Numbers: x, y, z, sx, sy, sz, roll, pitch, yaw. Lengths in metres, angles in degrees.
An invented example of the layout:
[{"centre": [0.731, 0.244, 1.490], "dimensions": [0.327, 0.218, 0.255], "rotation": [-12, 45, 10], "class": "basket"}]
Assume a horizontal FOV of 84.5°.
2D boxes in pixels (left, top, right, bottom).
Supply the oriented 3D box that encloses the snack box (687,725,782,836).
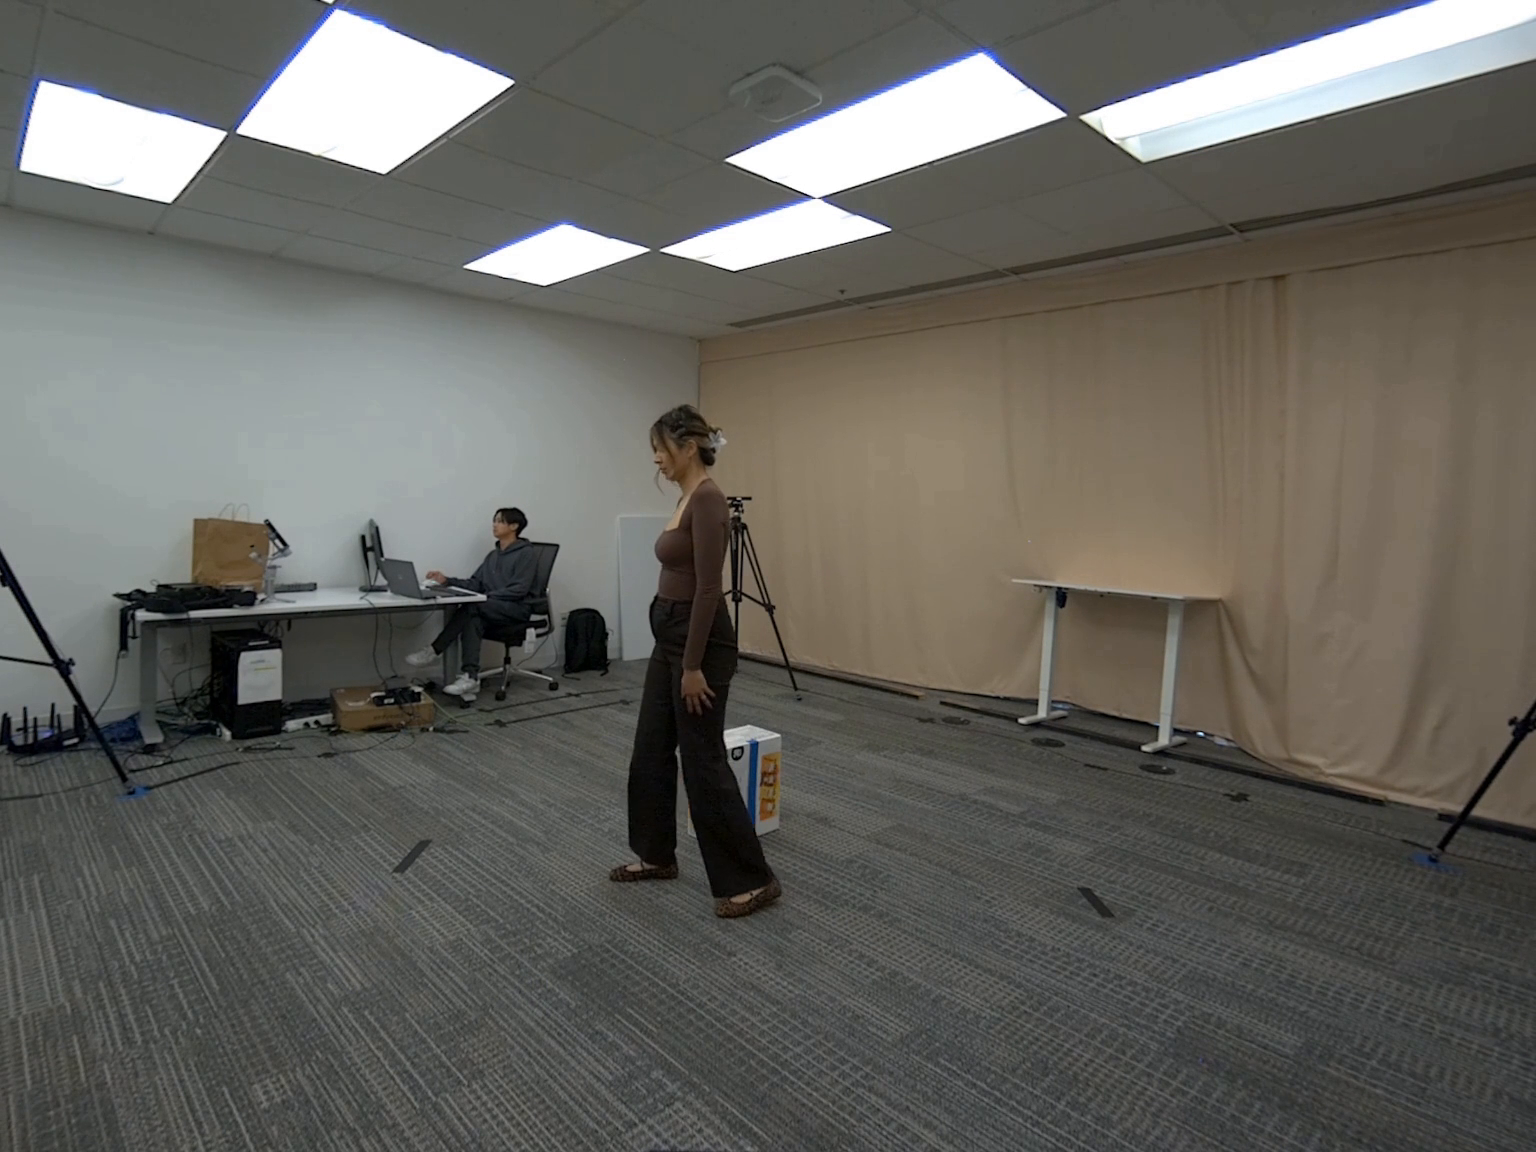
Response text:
[{"centre": [-0.144, 0.868, 3.509], "dimensions": [0.332, 0.404, 0.211], "rotation": [-2, 5, -44], "class": "snack box"}]
